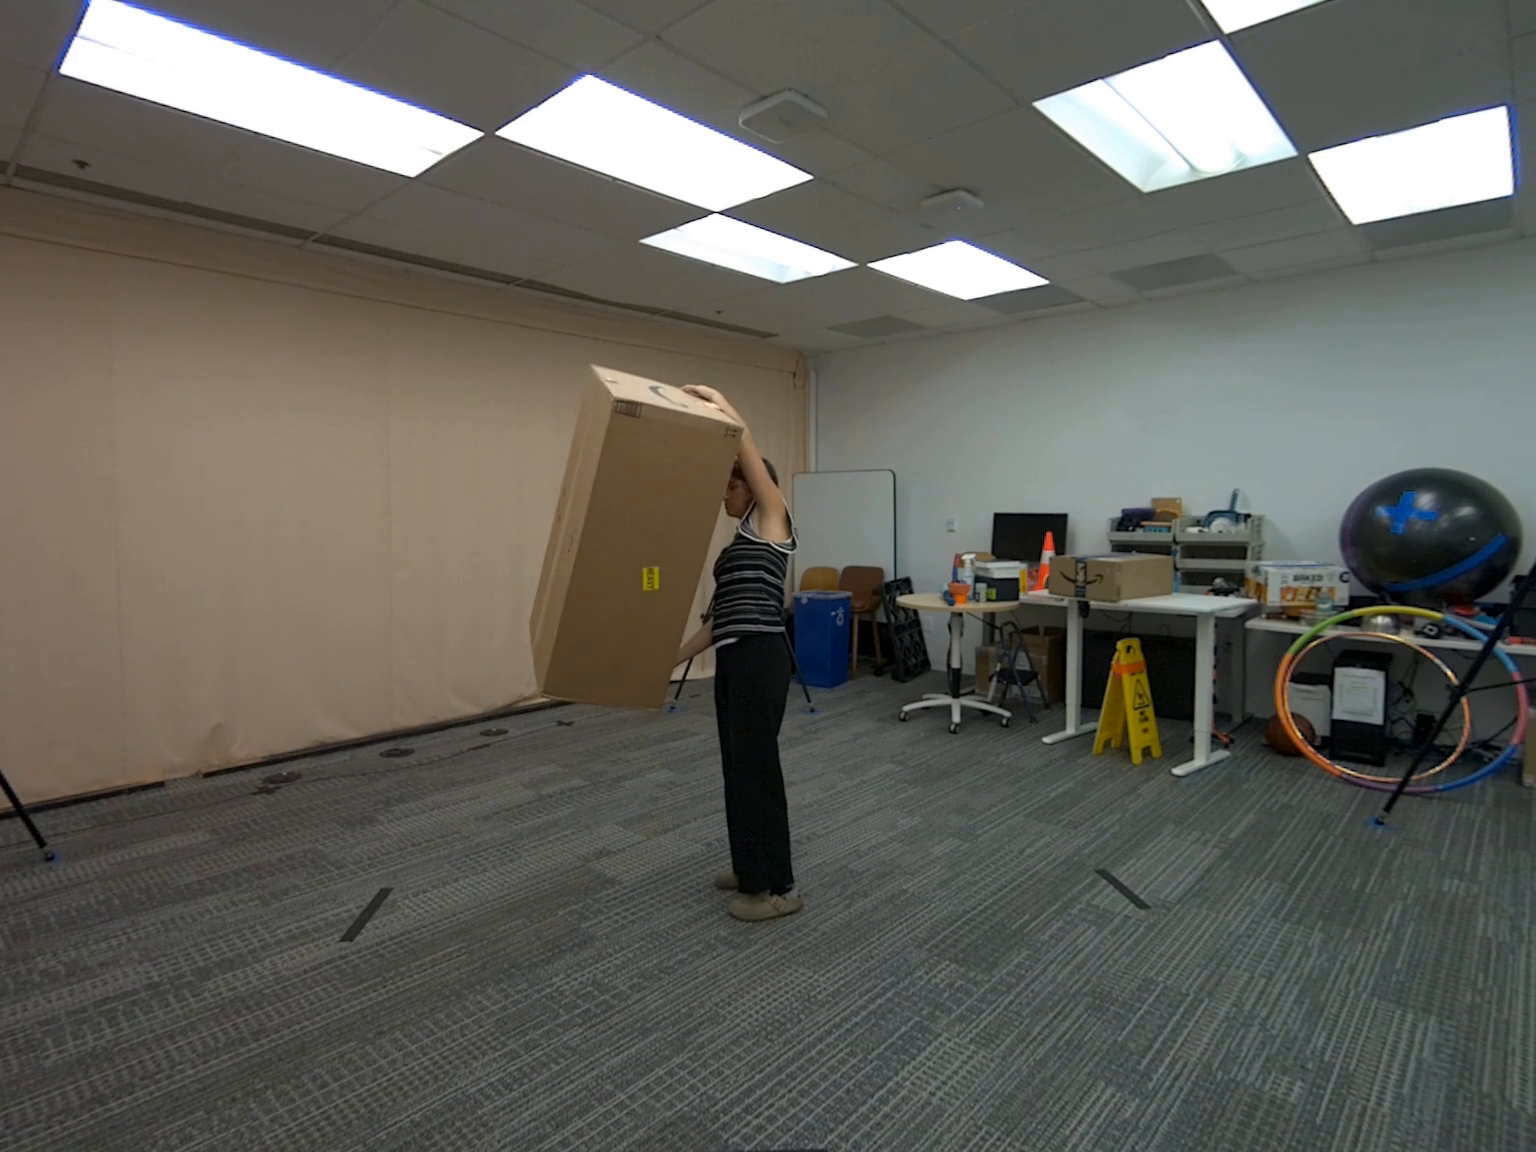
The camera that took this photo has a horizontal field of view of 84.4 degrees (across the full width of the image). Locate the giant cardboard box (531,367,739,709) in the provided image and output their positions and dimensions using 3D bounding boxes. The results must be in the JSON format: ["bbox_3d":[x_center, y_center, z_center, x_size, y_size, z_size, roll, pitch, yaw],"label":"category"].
[{"bbox_3d":[-0.495,-0.141,2.936,0.416,1.021,0.594,10,18,-22],"label":"giant cardboard box"}]
